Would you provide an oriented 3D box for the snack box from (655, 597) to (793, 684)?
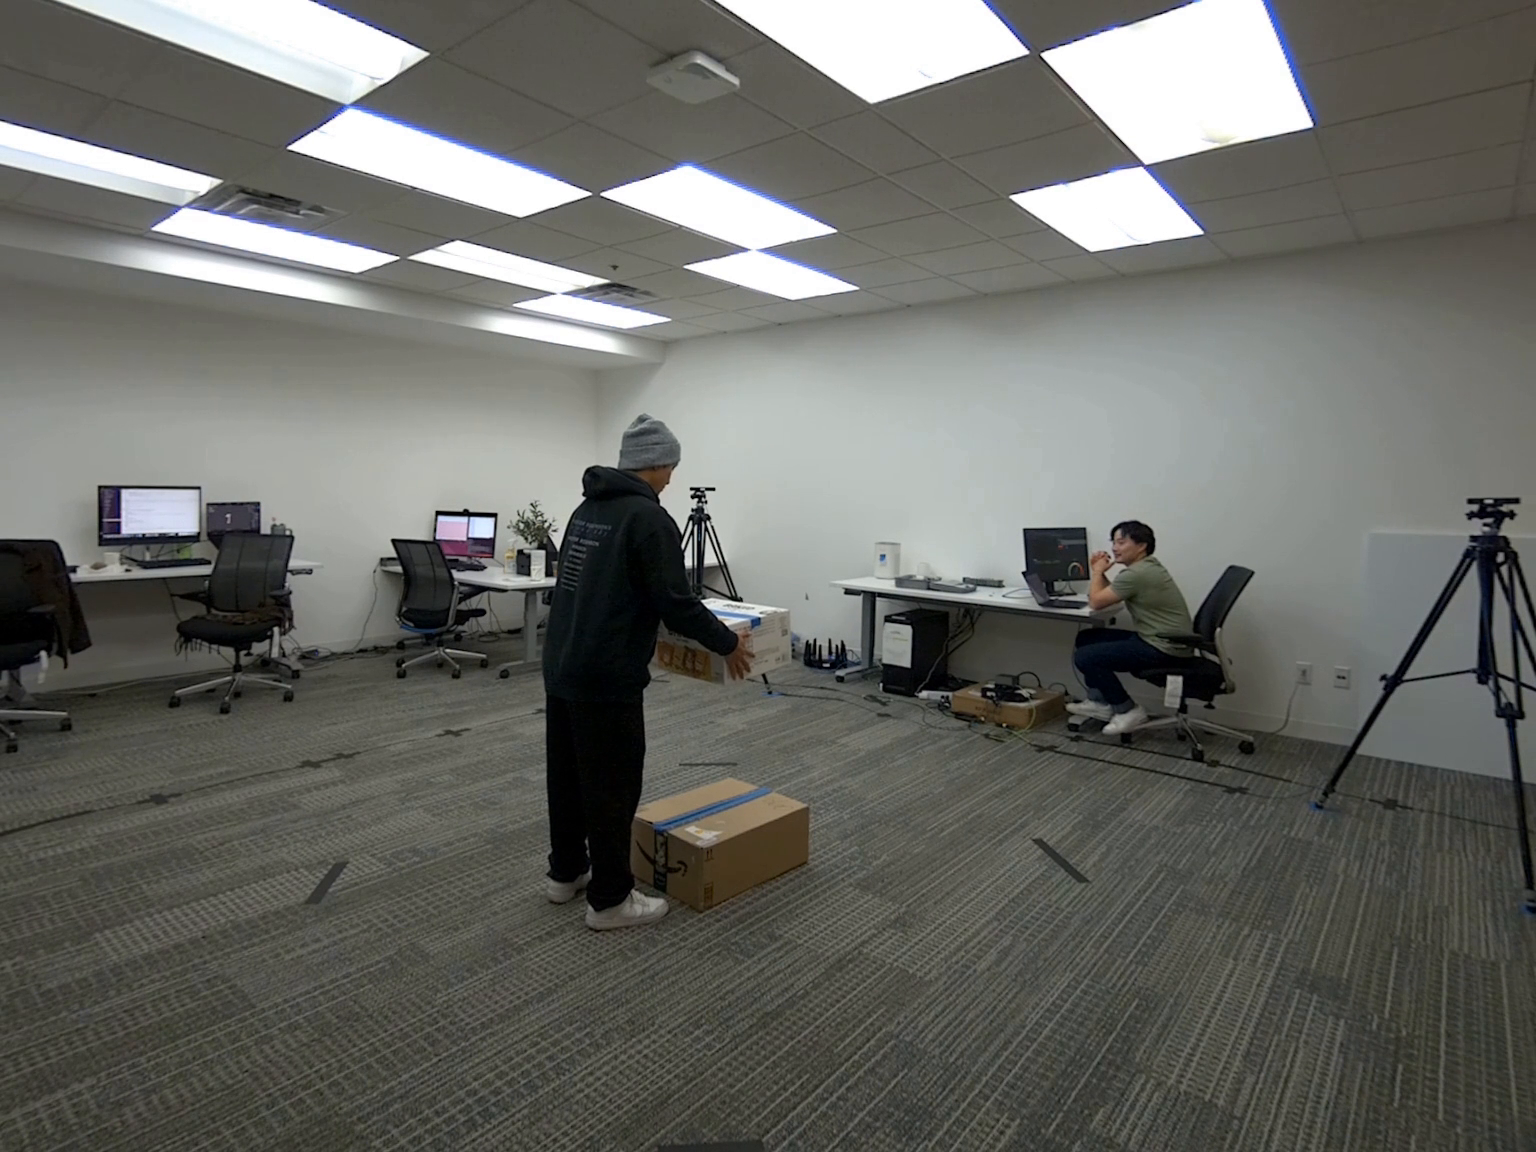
[{"bbox_3d":[-0.190,0.224,3.070,0.419,0.204,0.331,6,13,44],"label":"snack box"}]
